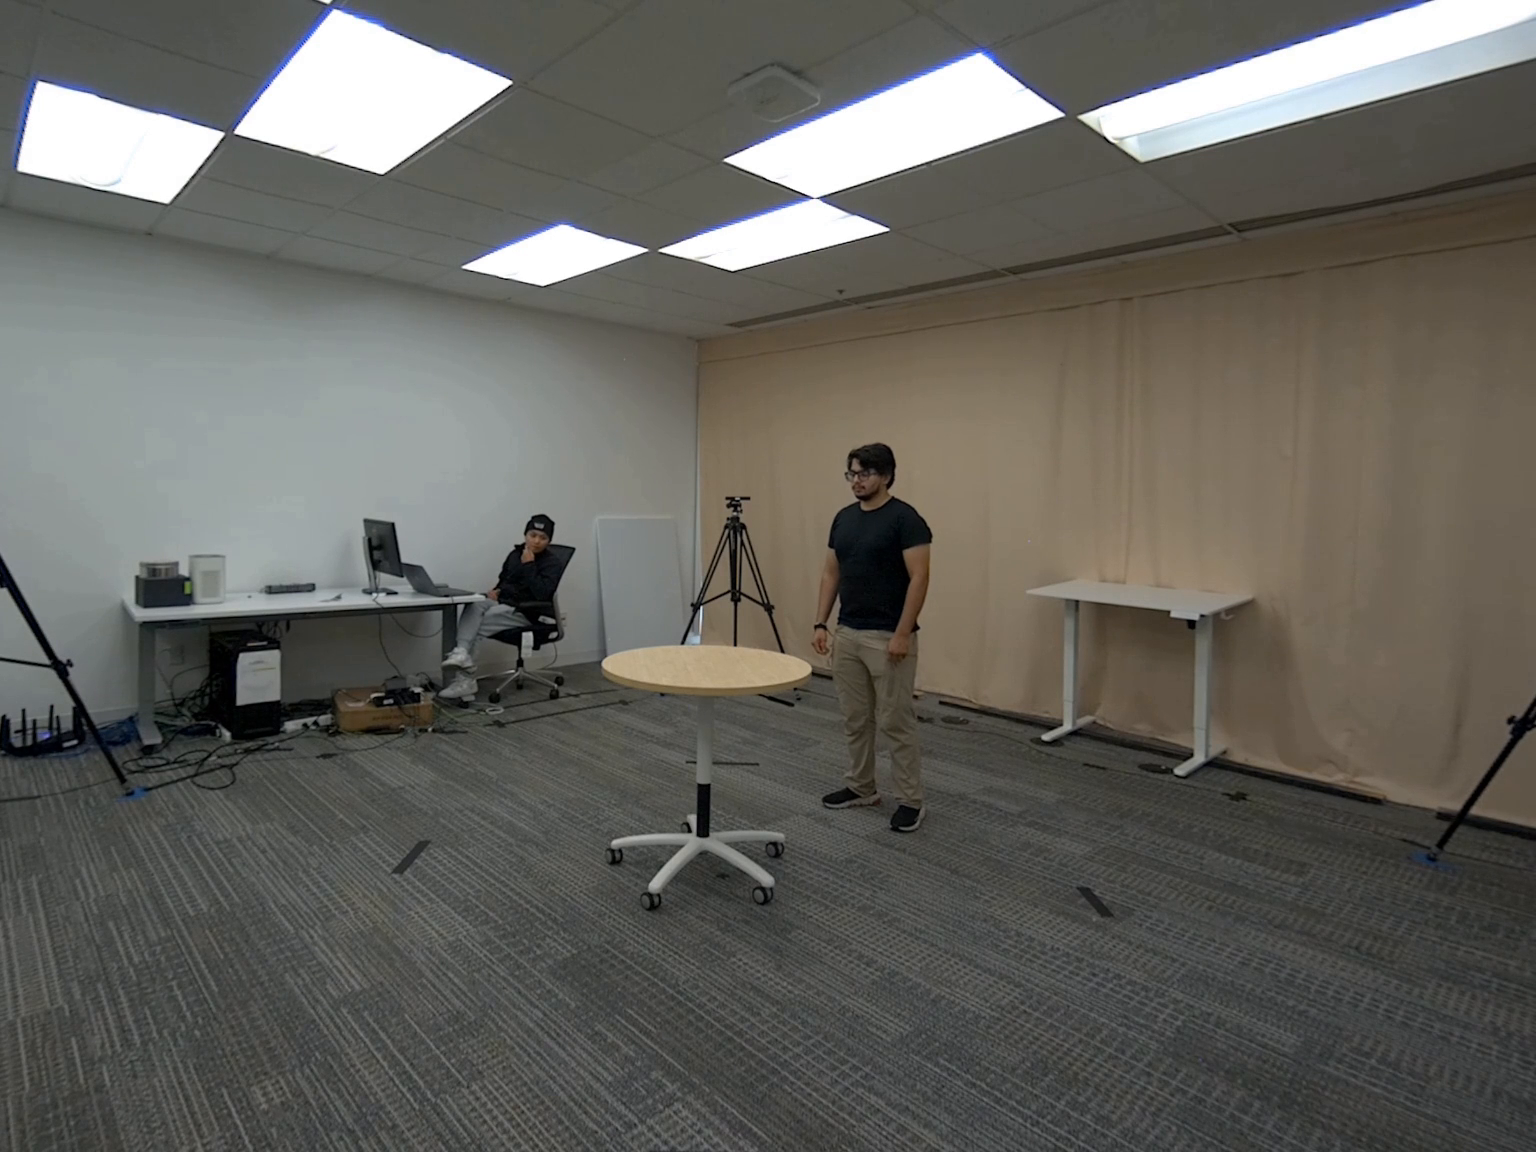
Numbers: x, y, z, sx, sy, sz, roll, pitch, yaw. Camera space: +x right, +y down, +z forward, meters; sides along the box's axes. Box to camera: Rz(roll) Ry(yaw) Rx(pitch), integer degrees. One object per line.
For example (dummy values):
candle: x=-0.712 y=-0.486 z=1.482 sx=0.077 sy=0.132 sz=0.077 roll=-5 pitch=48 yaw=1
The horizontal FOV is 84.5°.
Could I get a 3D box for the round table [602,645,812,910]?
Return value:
round table: x=-0.236 y=0.712 z=3.092 sx=0.784 sy=0.784 sz=0.788 roll=1 pitch=4 yaw=-1
